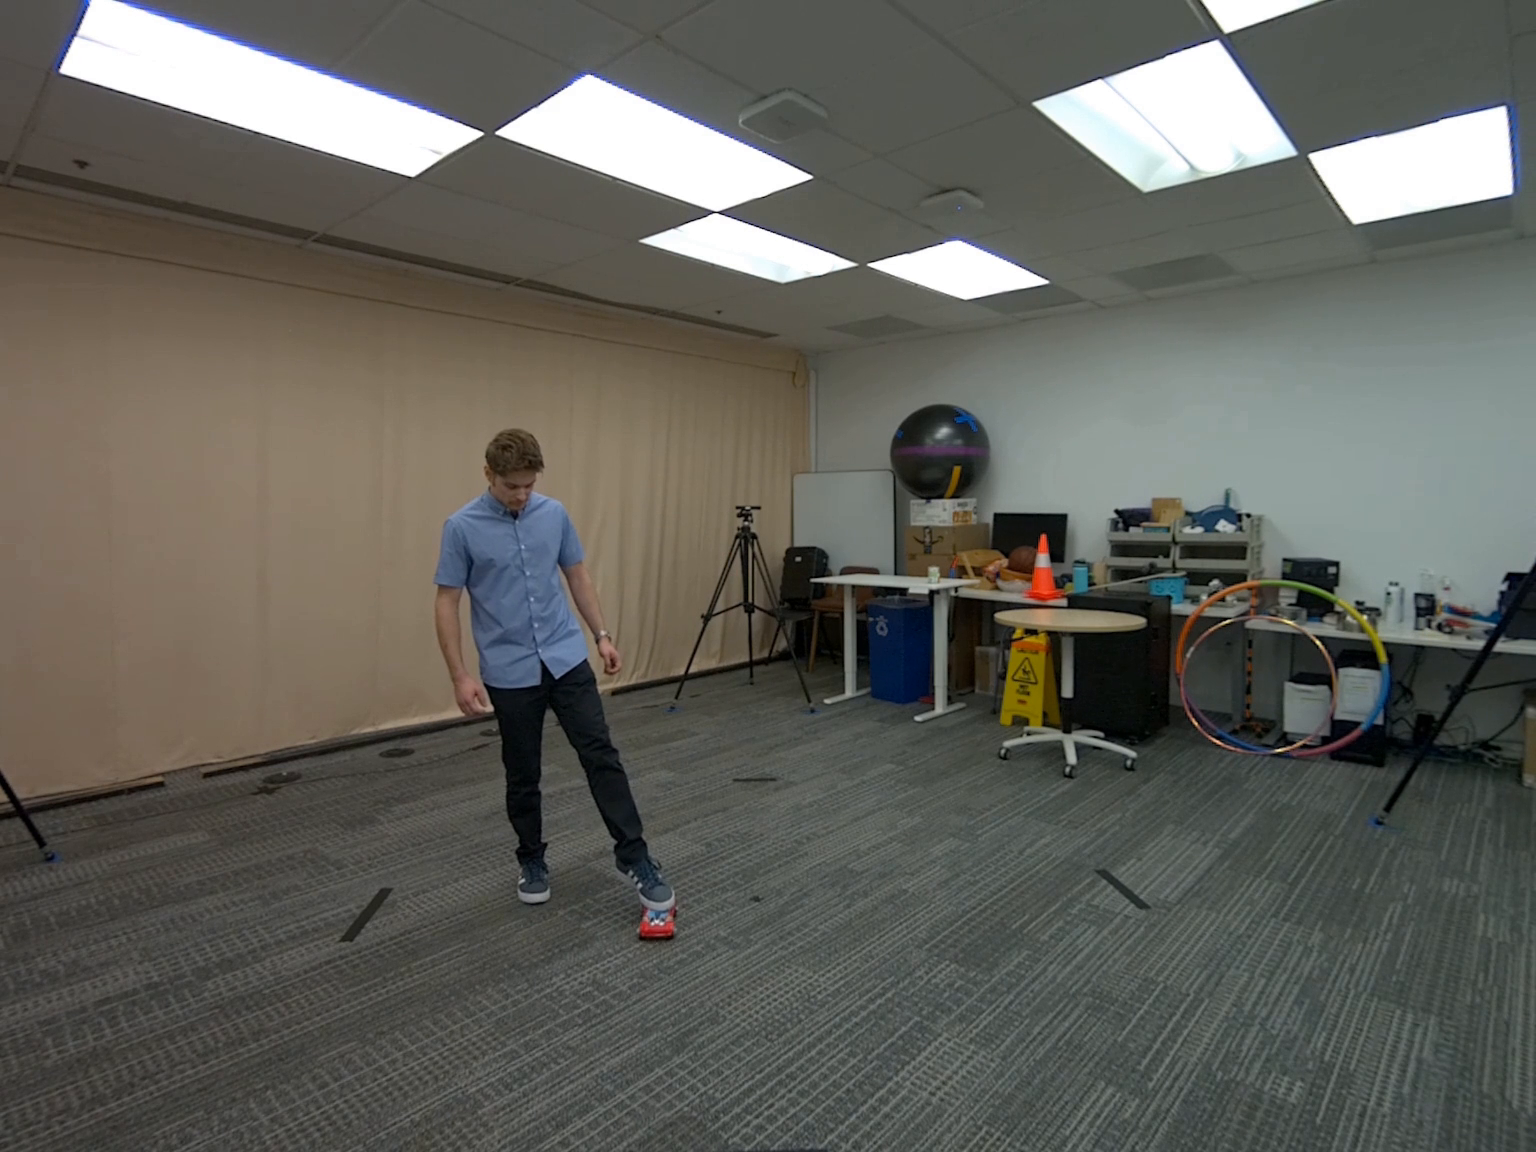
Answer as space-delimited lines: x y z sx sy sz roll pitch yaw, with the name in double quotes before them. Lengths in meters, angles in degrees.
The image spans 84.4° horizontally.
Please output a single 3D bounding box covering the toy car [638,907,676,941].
"toy car" -0.369 1.135 2.805 0.130 0.082 0.257 0 15 -2
